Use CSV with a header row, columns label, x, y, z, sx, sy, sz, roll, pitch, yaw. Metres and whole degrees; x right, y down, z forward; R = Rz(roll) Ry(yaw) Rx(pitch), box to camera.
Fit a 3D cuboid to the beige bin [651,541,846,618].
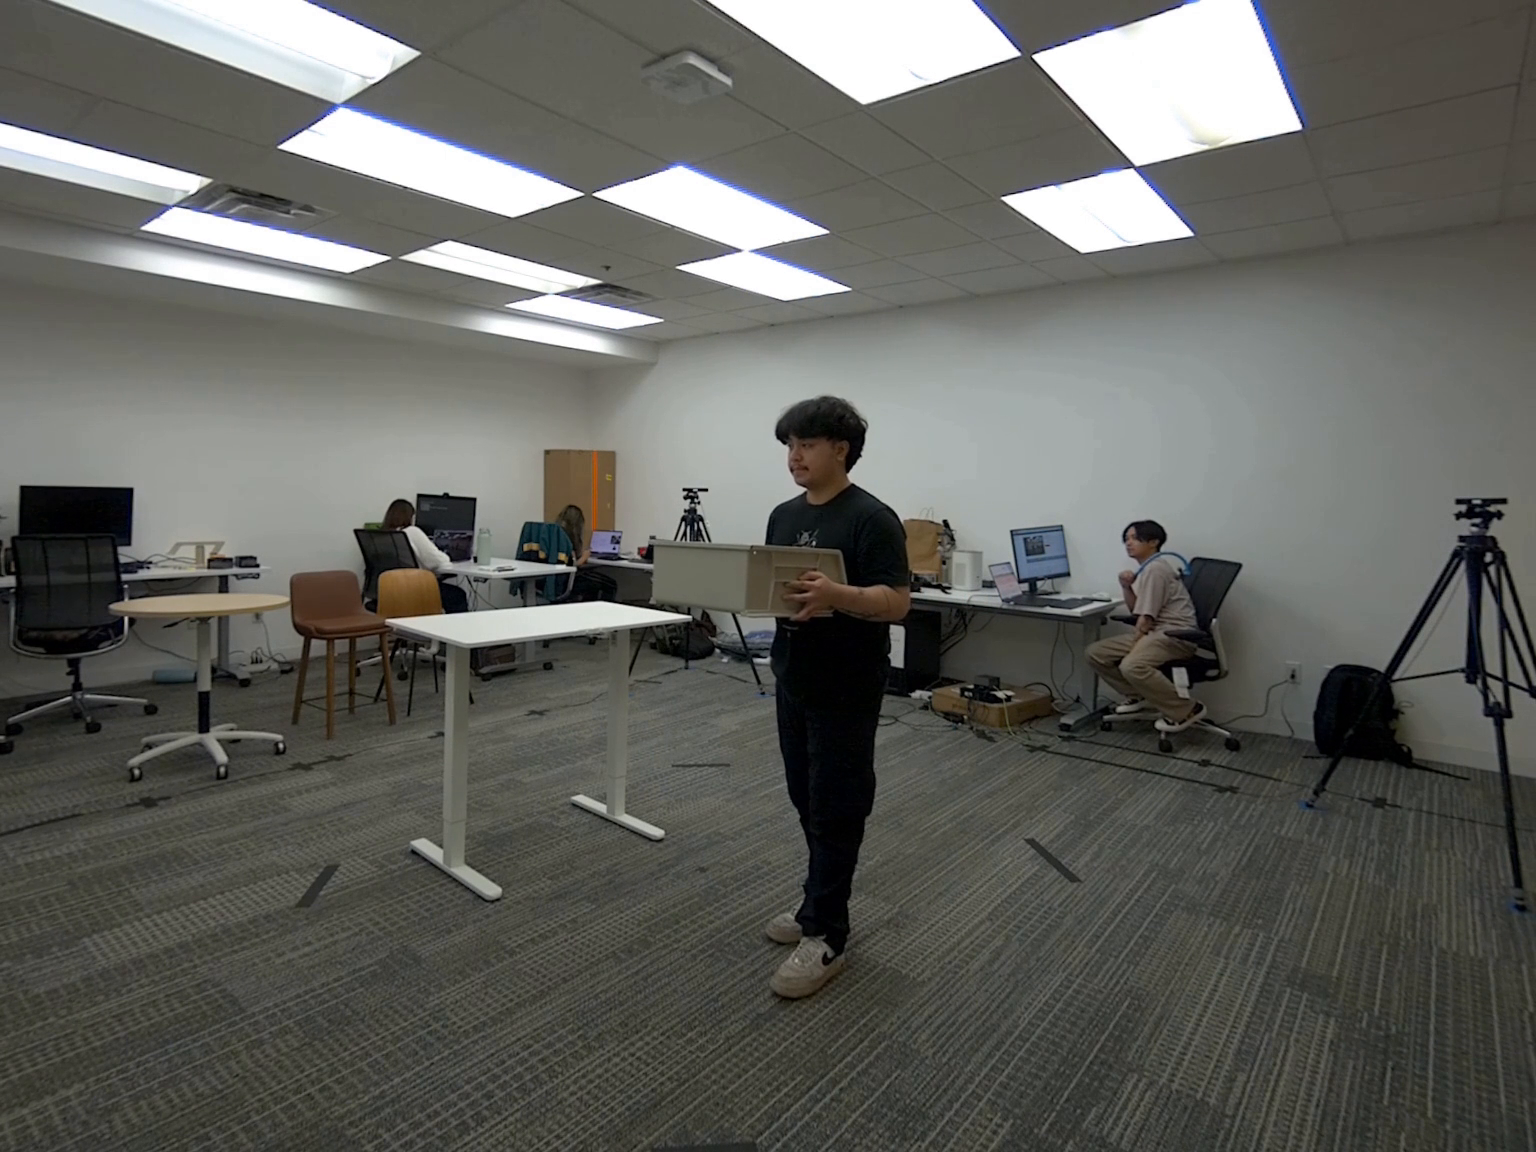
label,x,y,z,sx,sy,sz,roll,pitch,yaw
beige bin,-0.073,0.000,2.353,0.365,0.189,0.436,0,2,-43
